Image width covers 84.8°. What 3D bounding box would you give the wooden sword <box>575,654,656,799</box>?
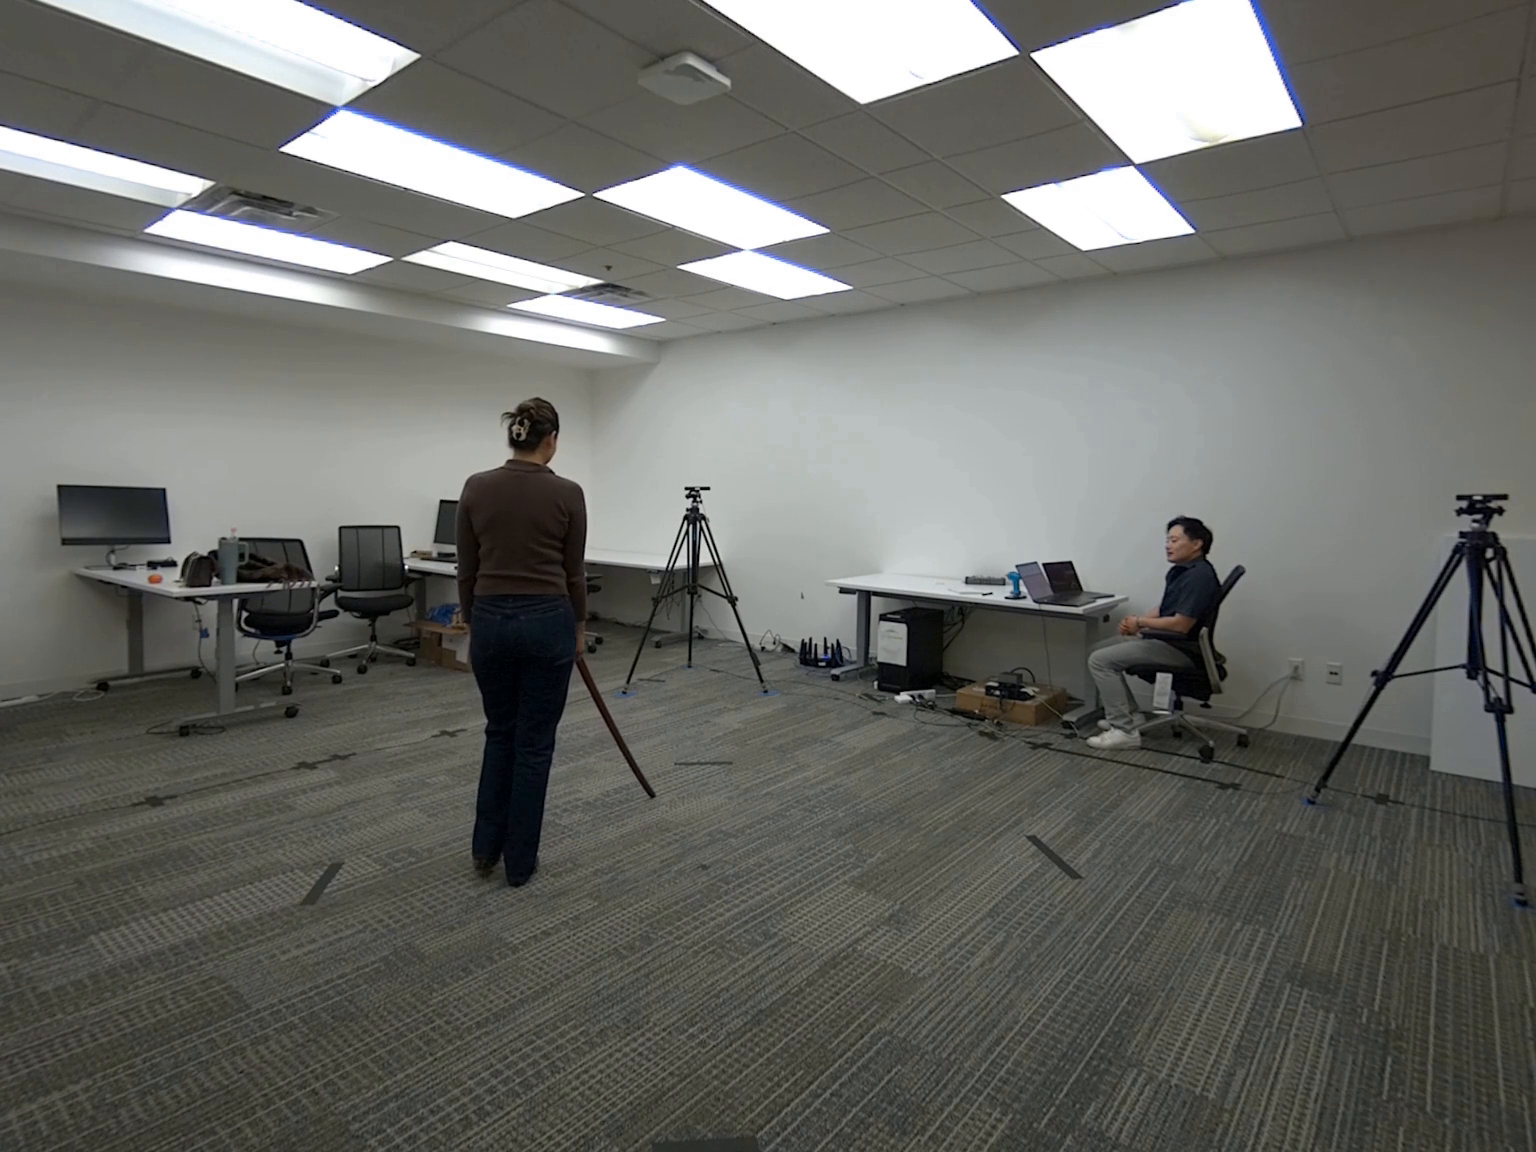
[{"bbox_3d":[-0.655,0.622,3.528,0.052,0.989,0.024,-5,39,14],"label":"wooden sword"}]
